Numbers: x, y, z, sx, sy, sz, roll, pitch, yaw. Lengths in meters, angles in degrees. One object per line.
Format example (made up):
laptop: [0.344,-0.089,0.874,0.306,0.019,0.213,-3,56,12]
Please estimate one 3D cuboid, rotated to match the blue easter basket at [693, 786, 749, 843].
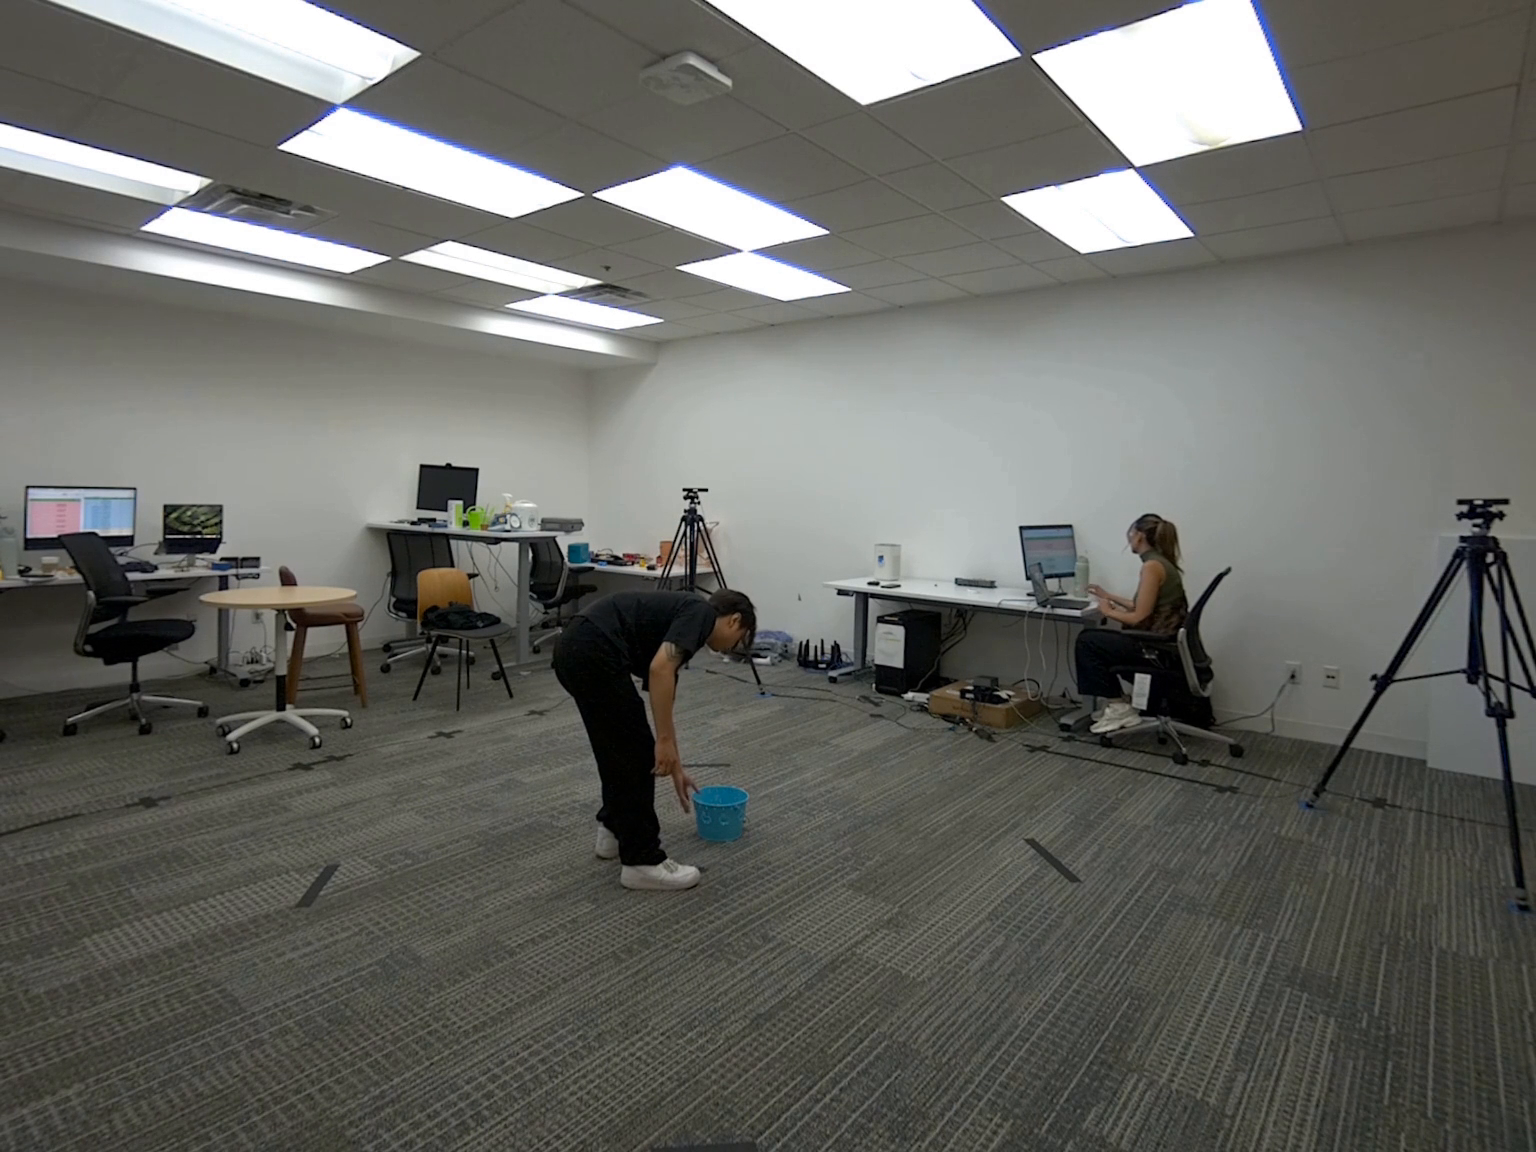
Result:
blue easter basket: [-0.200,0.961,3.449,0.243,0.155,0.245,1,5,-2]
